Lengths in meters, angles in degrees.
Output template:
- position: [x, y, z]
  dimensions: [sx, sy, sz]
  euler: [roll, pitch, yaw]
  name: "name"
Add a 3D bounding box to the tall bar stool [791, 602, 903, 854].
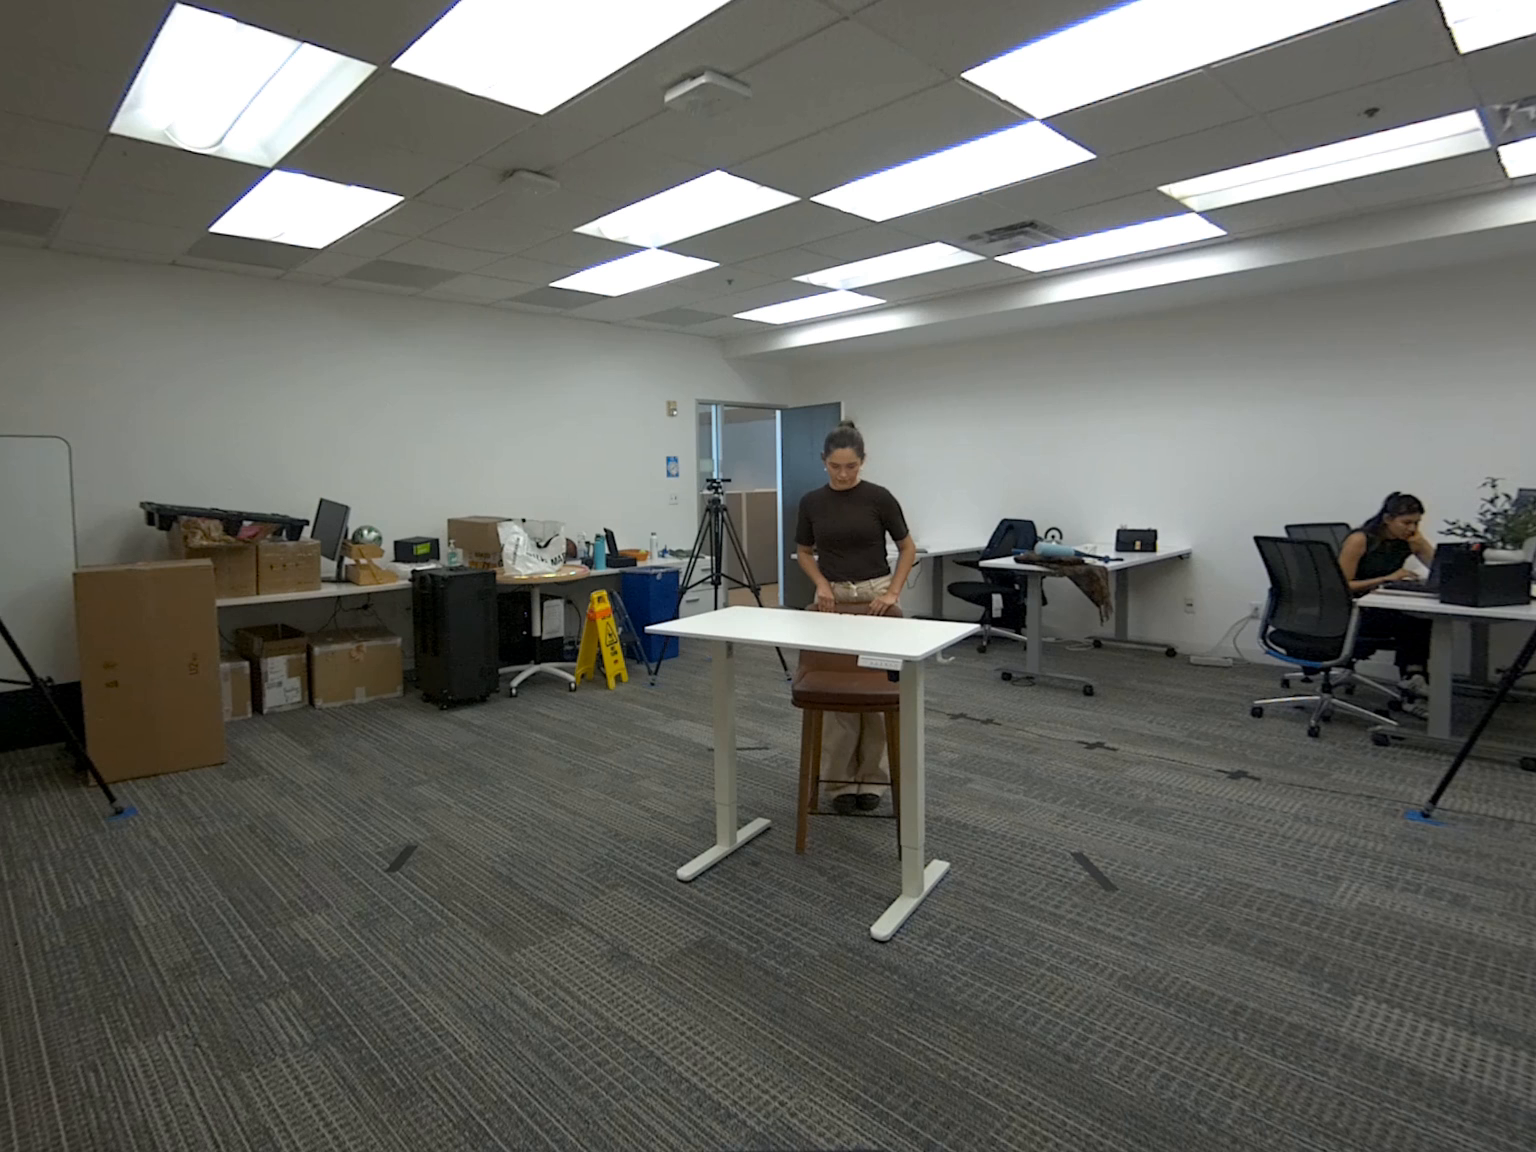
- position: [0.327, 0.576, 3.346]
  dimensions: [0.461, 0.889, 0.463]
  euler: [-1, 1, 11]
  name: "tall bar stool"
